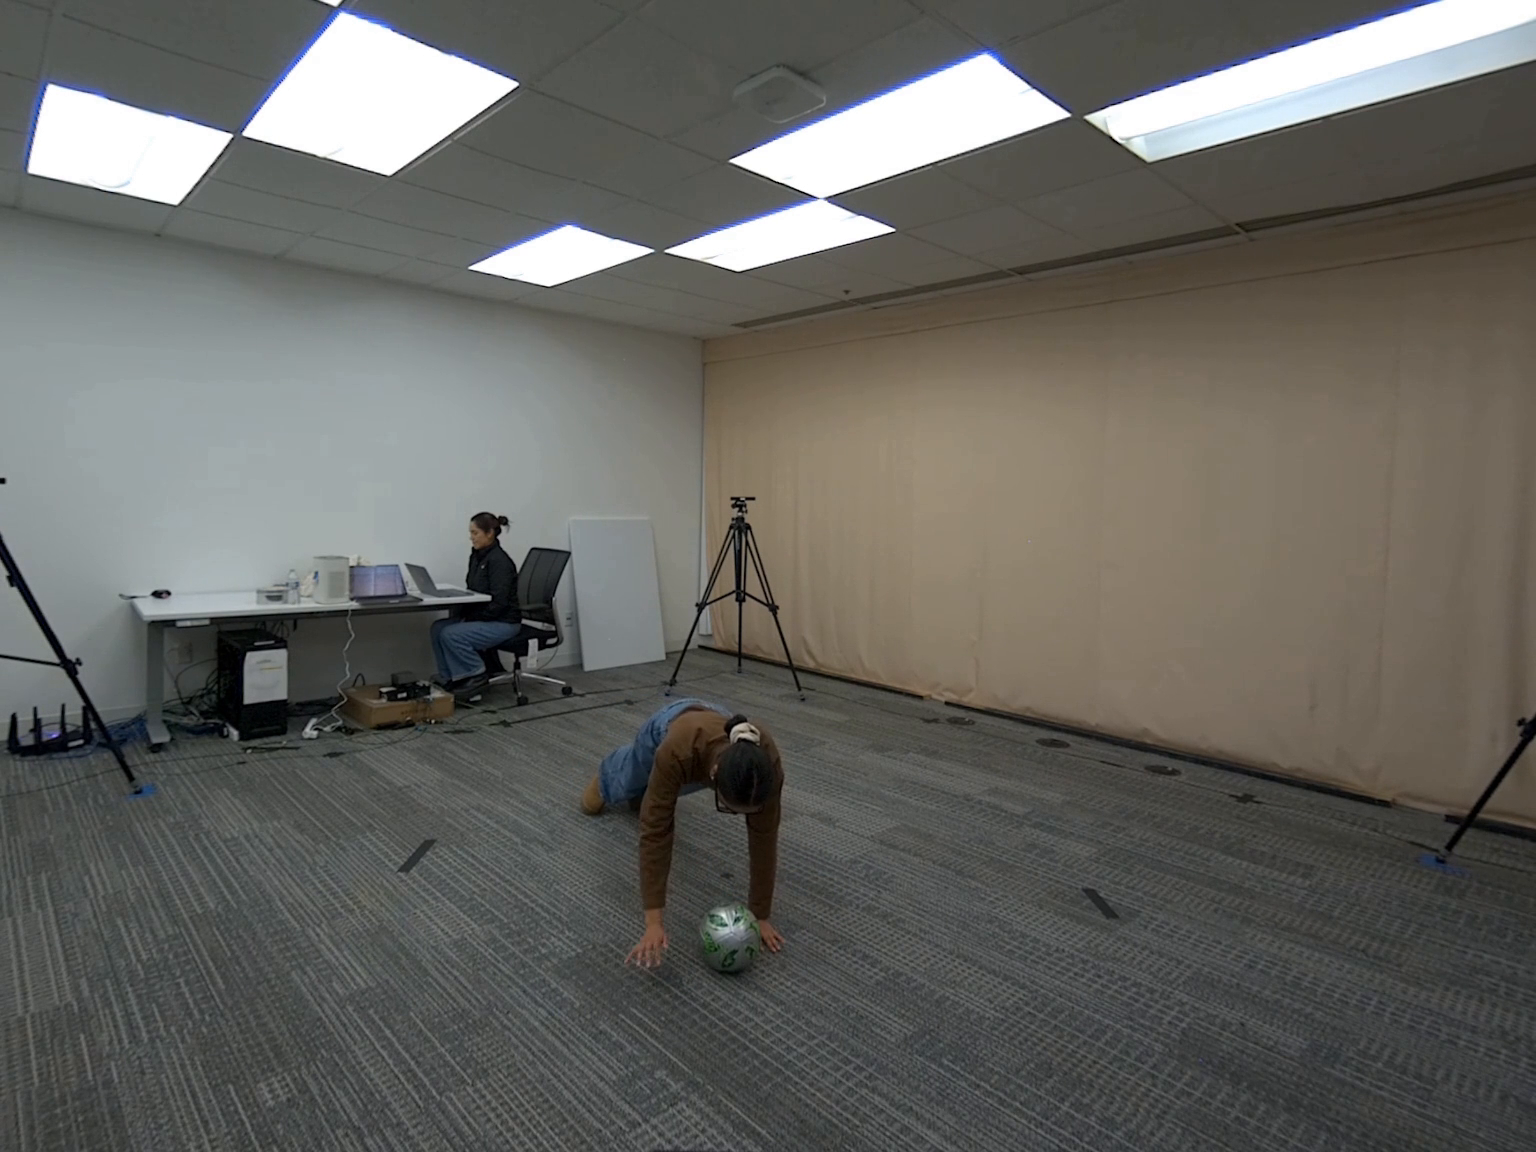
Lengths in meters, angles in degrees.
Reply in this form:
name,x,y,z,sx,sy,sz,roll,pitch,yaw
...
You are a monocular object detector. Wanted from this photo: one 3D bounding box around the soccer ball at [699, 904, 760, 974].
name,x,y,z,sx,sy,sz,roll,pitch,yaw
soccer ball,-0.119,1.077,2.478,0.187,0.187,0.188,1,4,-1
